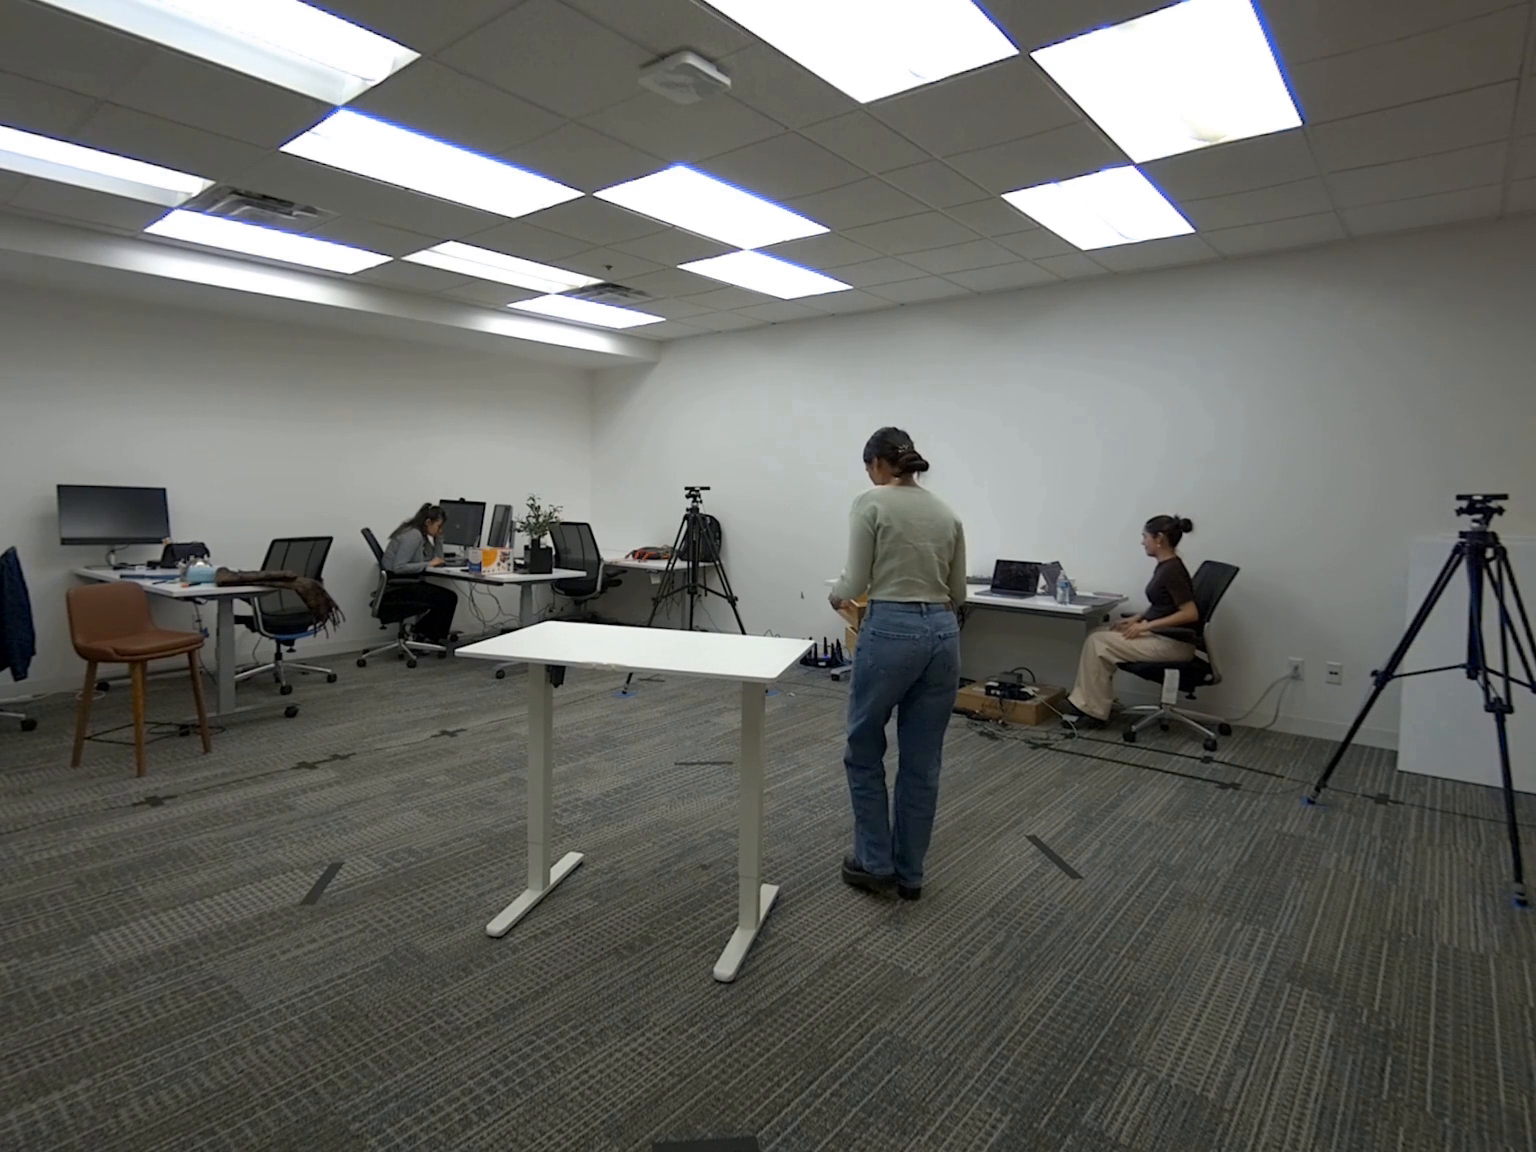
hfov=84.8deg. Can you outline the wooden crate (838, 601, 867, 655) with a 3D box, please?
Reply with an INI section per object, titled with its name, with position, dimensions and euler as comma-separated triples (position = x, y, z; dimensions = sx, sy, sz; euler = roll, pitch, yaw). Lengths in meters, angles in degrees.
[wooden crate]
position = 0.438, 0.181, 3.206
dimensions = 0.299, 0.270, 0.331
euler = -5, 12, -9
